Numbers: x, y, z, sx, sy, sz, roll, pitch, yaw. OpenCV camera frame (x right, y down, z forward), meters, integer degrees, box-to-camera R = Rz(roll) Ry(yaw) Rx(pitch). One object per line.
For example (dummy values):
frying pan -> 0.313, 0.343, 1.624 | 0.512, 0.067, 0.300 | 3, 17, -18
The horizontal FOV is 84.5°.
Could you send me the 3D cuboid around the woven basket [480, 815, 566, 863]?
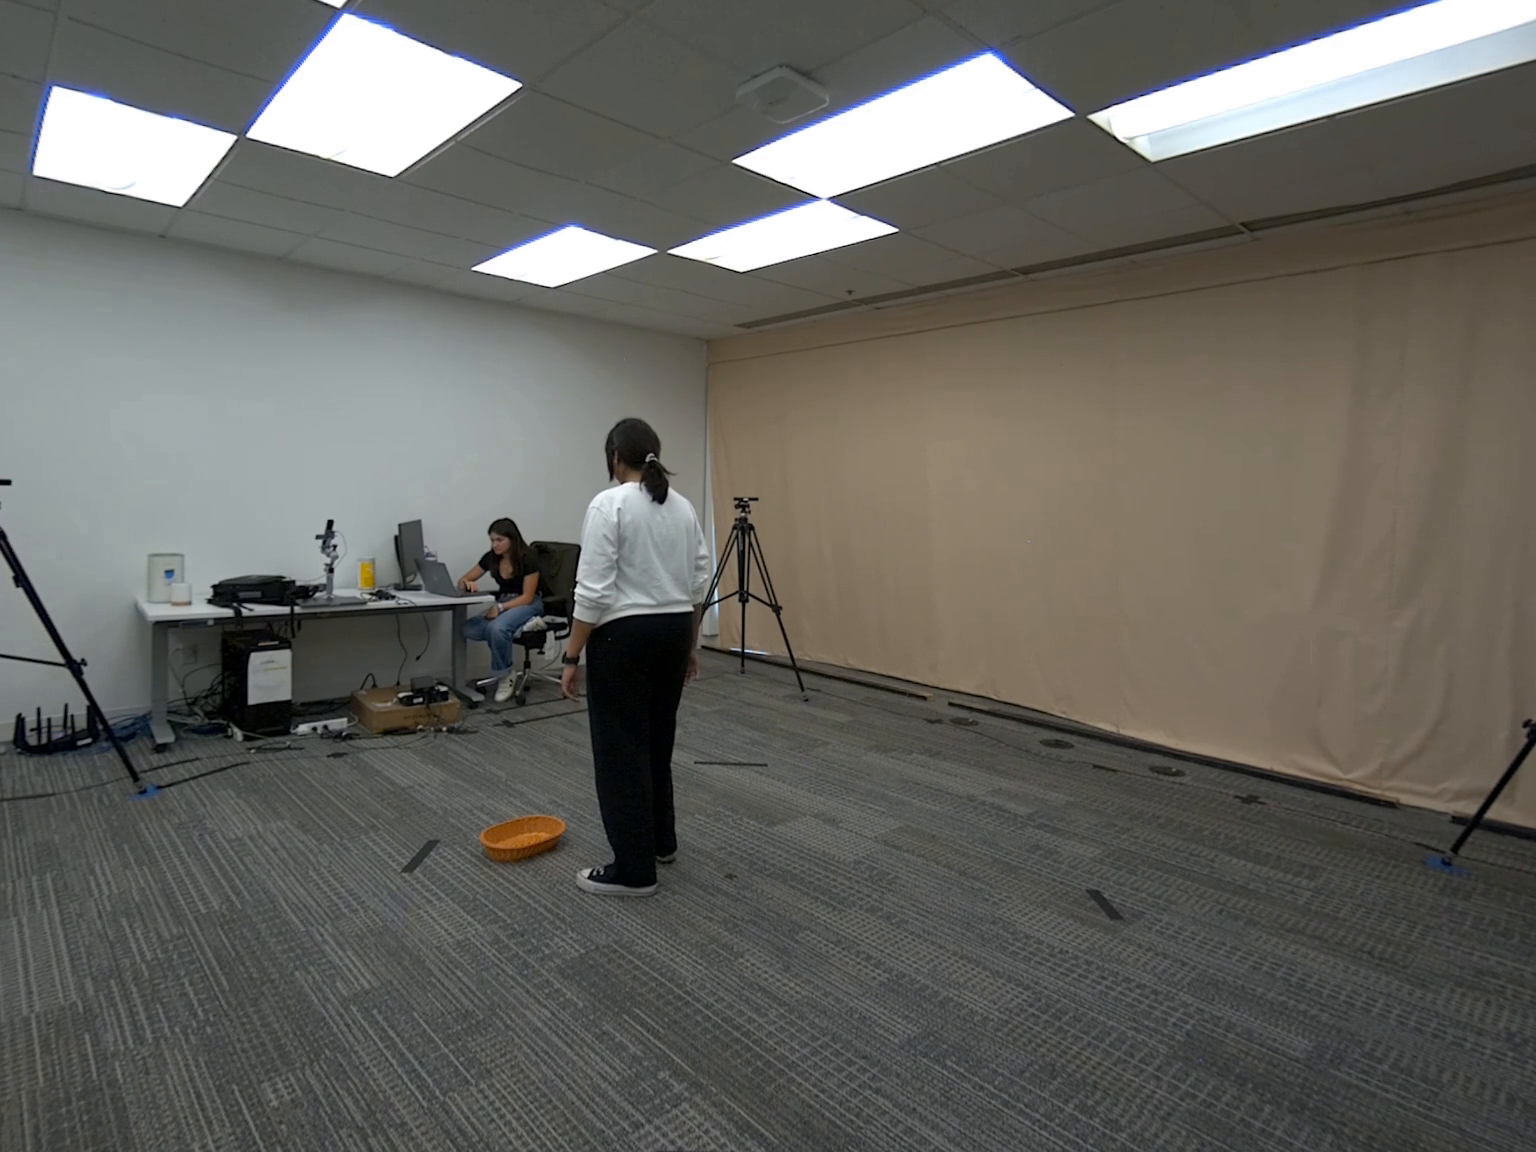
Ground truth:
woven basket -> -0.961, 1.029, 3.309 | 0.259, 0.073, 0.342 | 7, 8, 43
